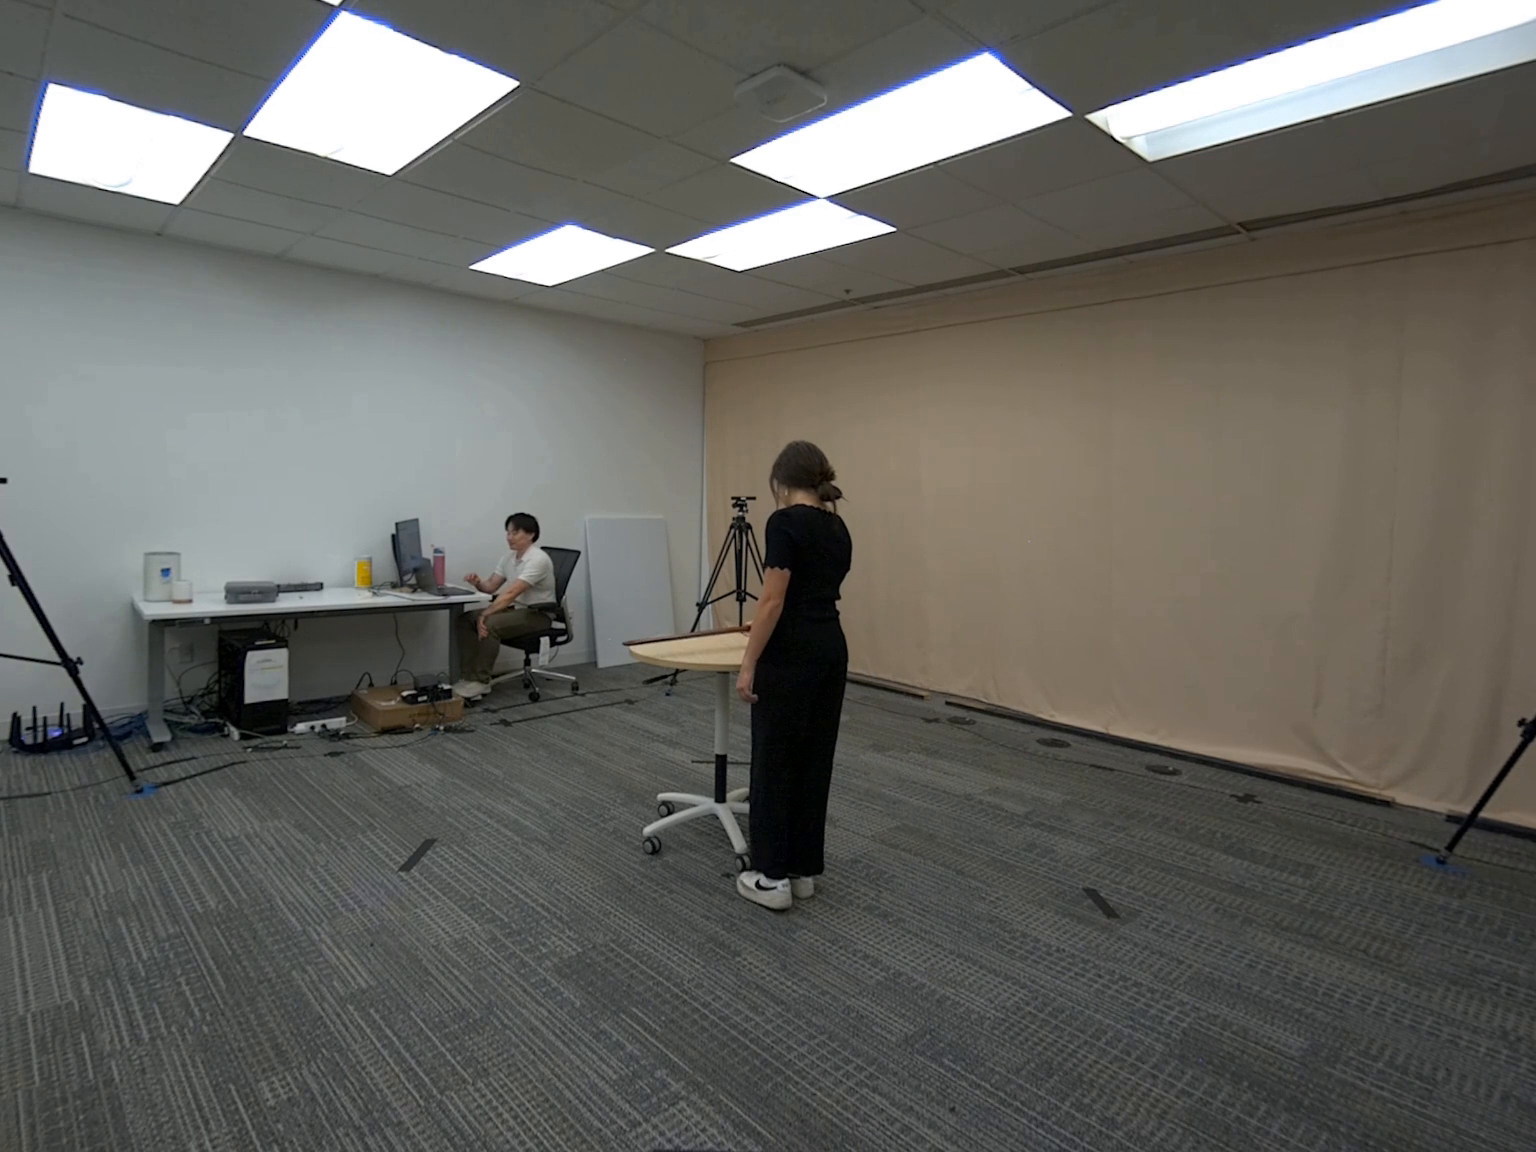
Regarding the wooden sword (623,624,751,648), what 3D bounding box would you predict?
[{"bbox_3d":[-0.144,0.221,3.444,1.004,0.052,0.024,-4,-24,-31],"label":"wooden sword"}]
